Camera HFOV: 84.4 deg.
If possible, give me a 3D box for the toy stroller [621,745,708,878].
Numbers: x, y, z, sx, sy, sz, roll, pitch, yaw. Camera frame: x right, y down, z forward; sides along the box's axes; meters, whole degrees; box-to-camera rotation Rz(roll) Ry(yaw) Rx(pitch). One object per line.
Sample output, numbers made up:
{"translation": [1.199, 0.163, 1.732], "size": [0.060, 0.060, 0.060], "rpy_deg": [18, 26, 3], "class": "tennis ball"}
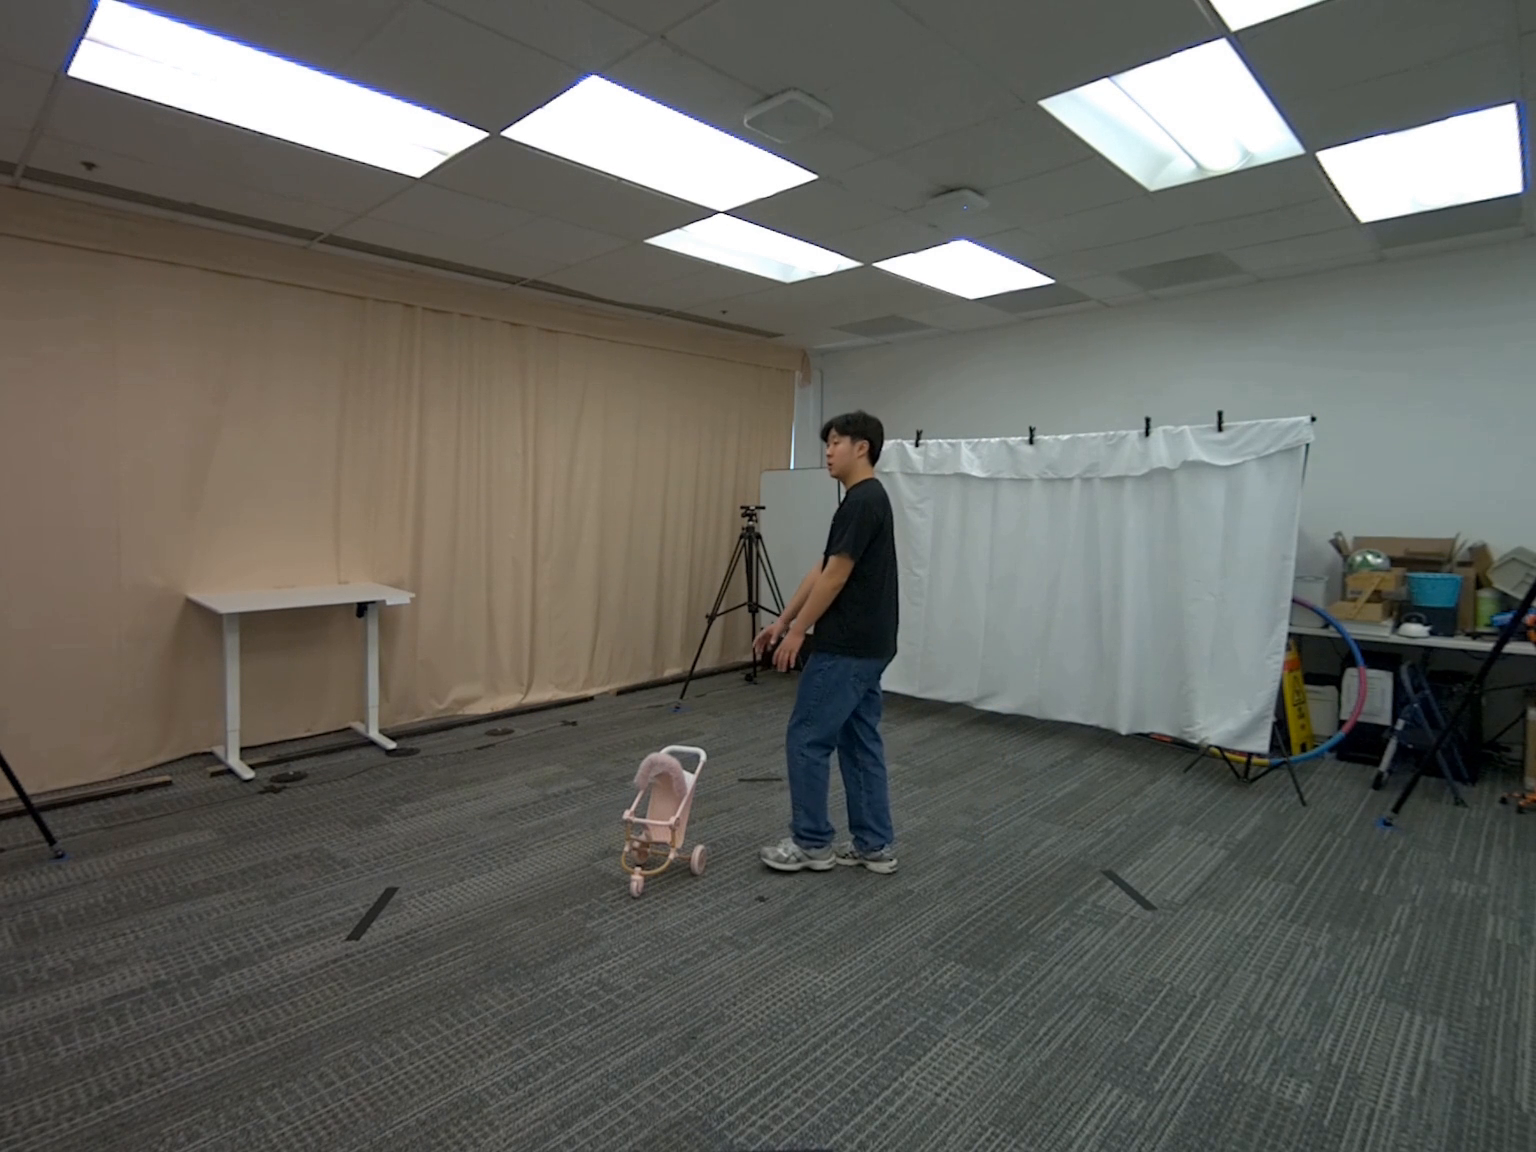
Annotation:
{"translation": [-0.404, 0.909, 3.170], "size": [0.289, 0.538, 0.330], "rpy_deg": [0, -13, 26], "class": "toy stroller"}
